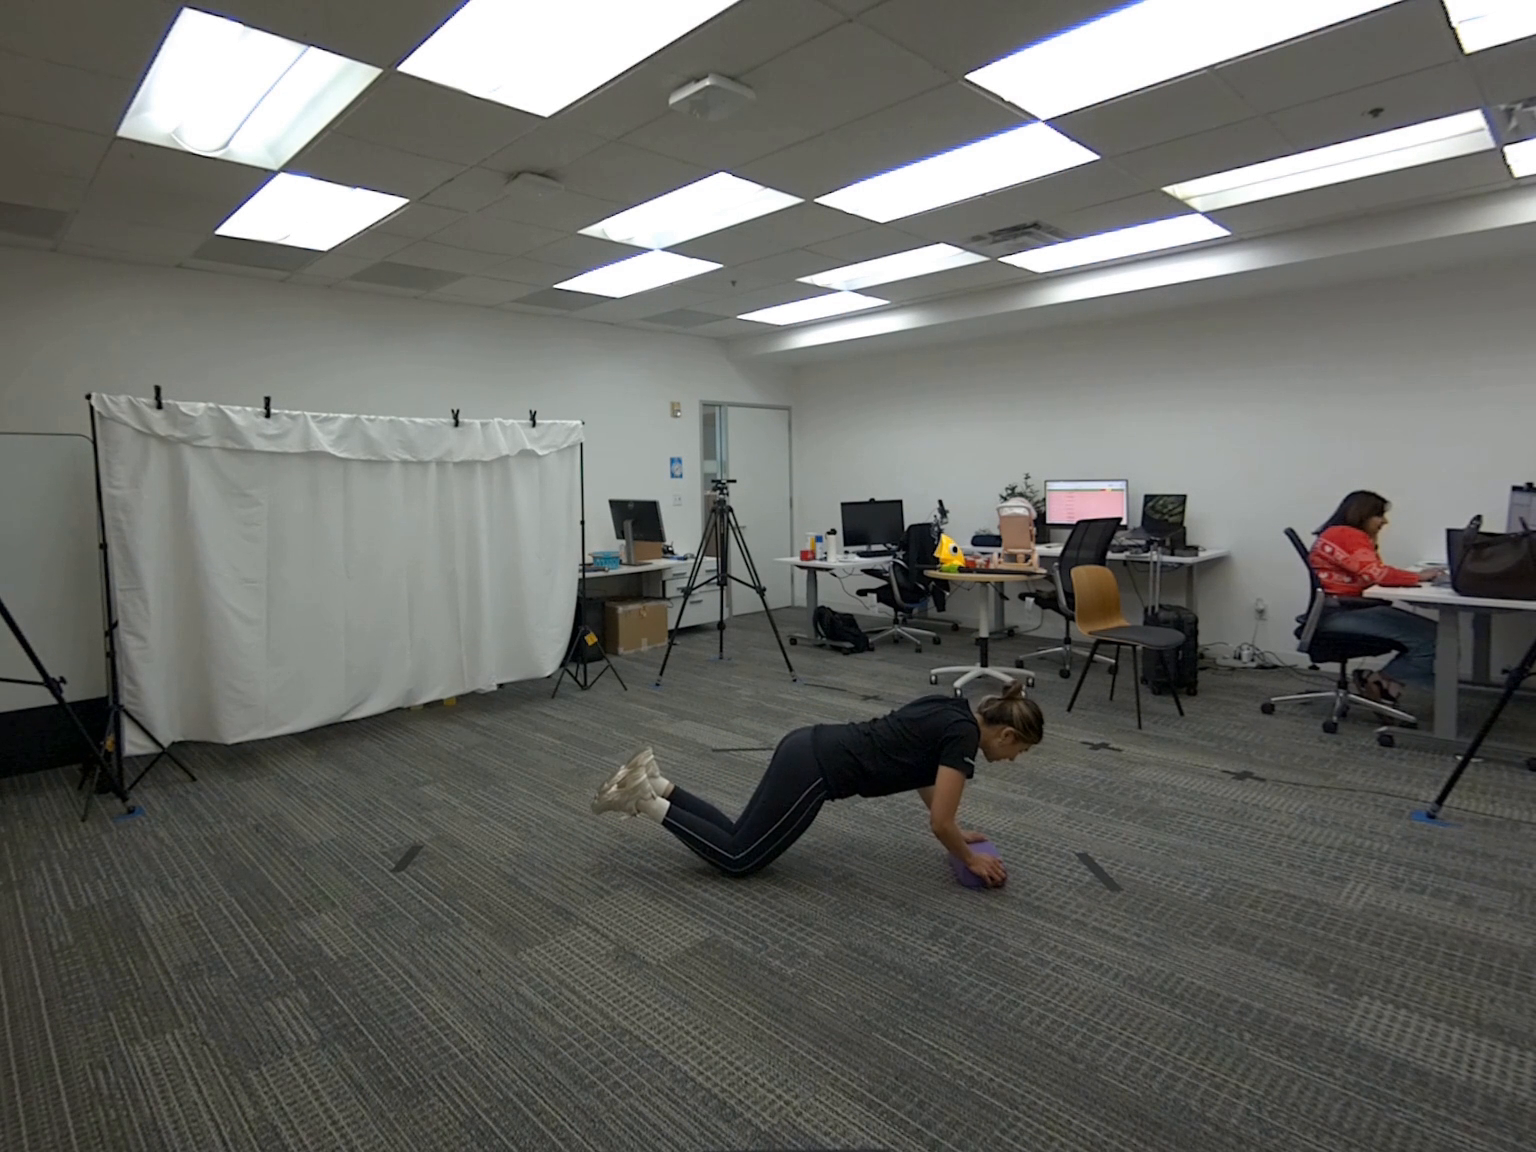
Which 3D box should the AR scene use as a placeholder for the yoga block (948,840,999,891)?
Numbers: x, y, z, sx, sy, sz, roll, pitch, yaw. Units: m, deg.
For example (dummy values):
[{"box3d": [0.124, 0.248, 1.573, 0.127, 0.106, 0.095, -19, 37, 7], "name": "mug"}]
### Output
[{"box3d": [0.728, 1.003, 3.000, 0.149, 0.076, 0.230, -1, 7, 0], "name": "yoga block"}]
